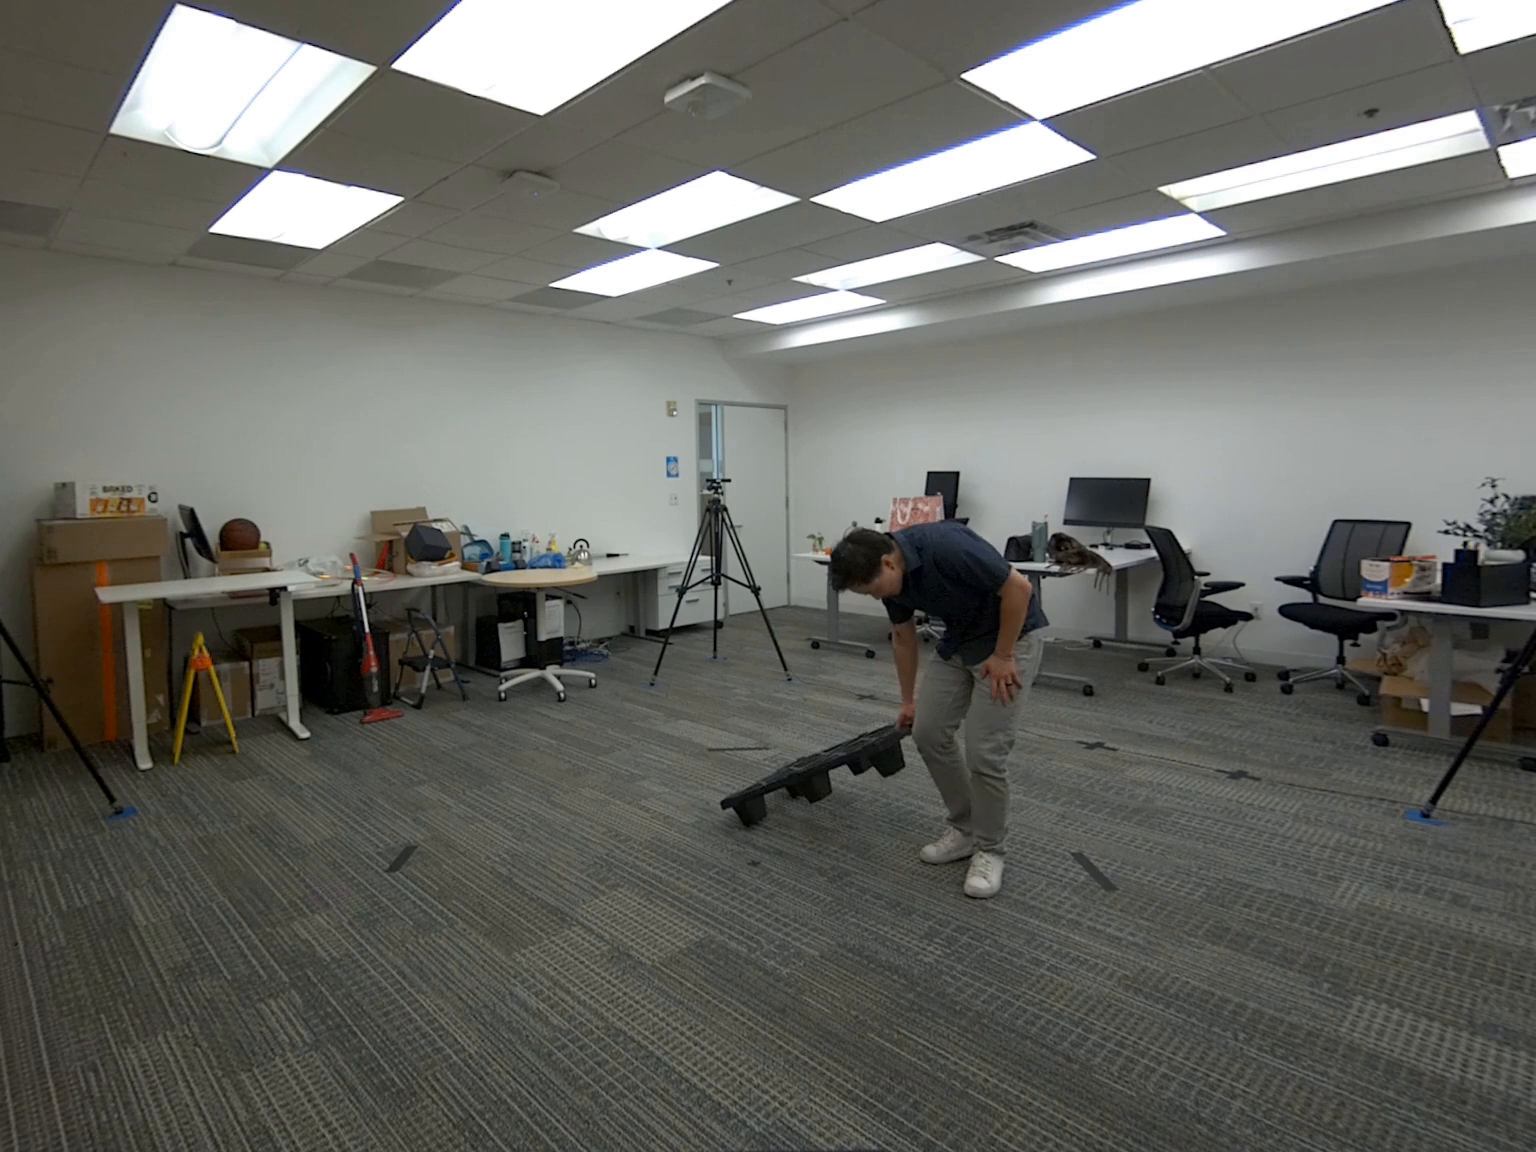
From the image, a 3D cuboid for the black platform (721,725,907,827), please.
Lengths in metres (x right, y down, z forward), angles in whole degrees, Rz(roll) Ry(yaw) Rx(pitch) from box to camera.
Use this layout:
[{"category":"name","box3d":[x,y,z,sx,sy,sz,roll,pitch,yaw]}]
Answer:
[{"category":"black platform","box3d":[0.280,0.781,3.450,0.814,0.145,0.591,-29,-11,32]}]
